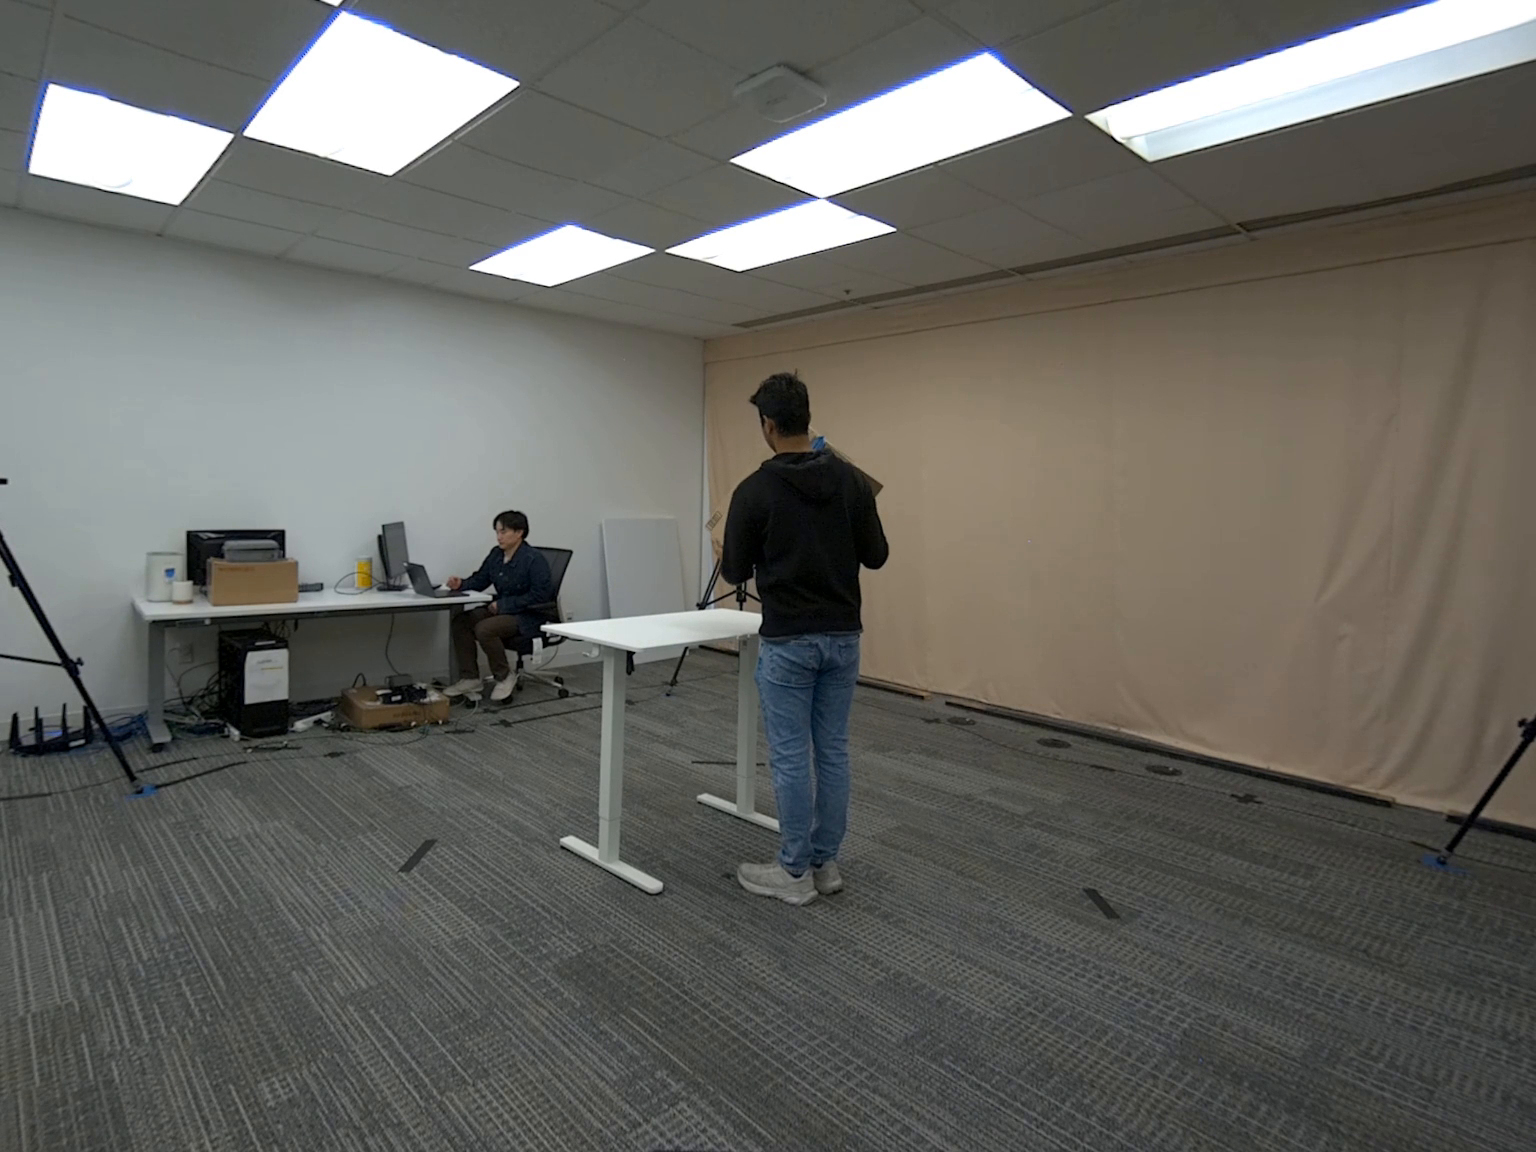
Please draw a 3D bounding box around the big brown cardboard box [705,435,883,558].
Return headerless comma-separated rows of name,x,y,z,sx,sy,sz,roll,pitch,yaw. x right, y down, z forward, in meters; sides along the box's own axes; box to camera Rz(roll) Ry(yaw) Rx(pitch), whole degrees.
big brown cardboard box,0.086,-0.261,3.257,0.430,0.588,0.226,42,11,34
